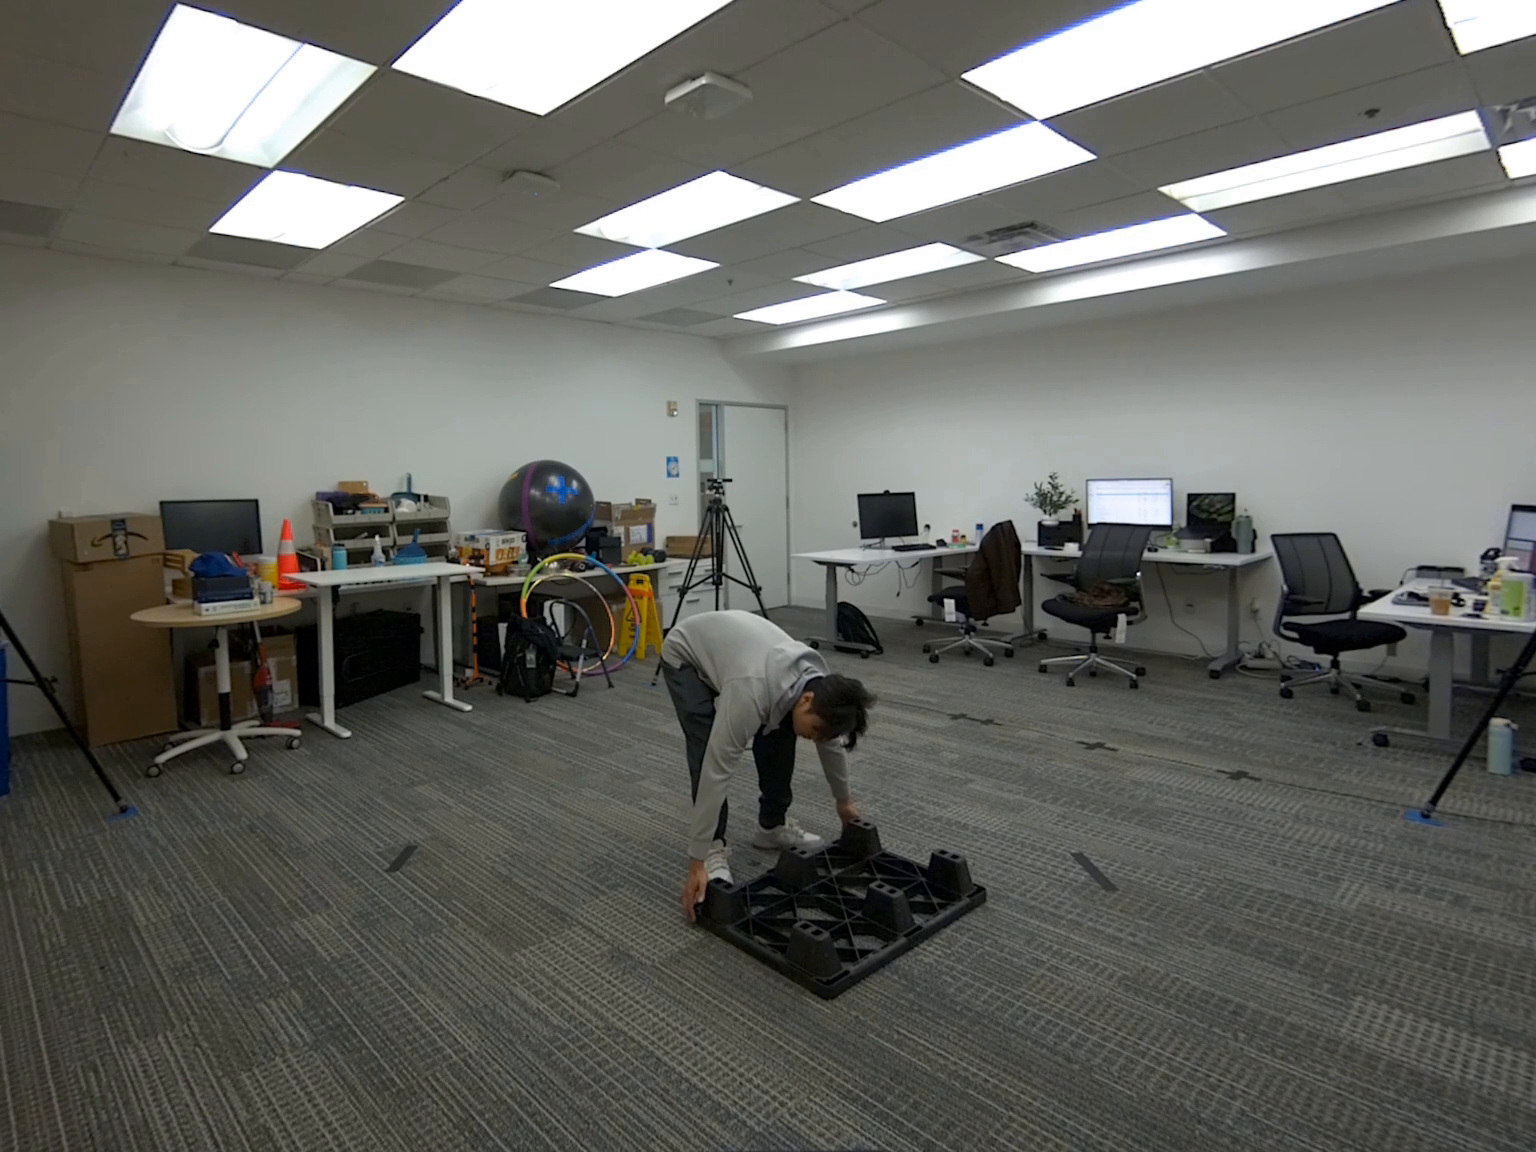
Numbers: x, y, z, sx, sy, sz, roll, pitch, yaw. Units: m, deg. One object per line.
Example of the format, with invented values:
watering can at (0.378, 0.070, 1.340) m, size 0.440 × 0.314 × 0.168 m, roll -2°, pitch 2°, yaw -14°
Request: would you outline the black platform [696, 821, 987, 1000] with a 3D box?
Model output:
black platform at (0.238, 1.013, 2.767) m, size 0.785 × 0.142 × 0.624 m, roll -7°, pitch 10°, yaw -43°
